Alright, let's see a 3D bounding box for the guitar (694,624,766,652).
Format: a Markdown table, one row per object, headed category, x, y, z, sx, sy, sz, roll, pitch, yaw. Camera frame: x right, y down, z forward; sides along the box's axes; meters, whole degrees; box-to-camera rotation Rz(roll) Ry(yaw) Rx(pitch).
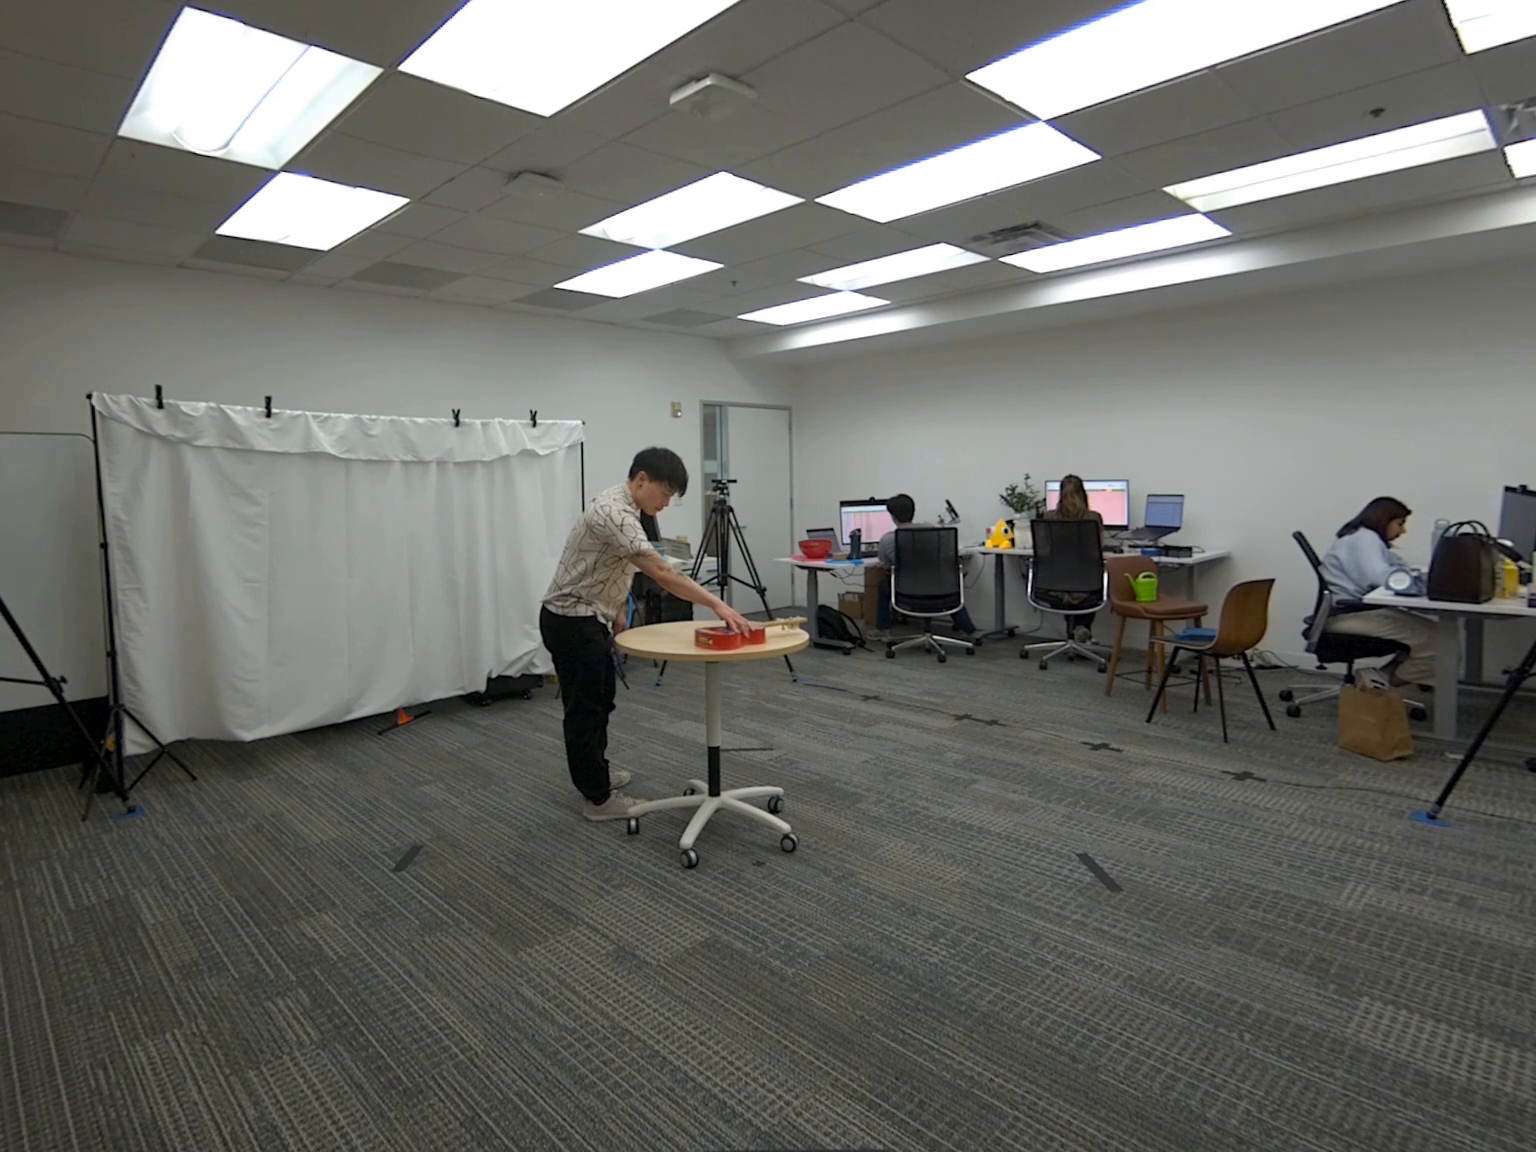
| category | x | y | z | sx | sy | sz | roll | pitch | yaw |
| --- | --- | --- | --- | --- | --- | --- | --- | --- | --- |
| guitar | -0.036 | 0.218 | 3.235 | 0.487 | 0.070 | 0.198 | -4 | 6 | -28 |
